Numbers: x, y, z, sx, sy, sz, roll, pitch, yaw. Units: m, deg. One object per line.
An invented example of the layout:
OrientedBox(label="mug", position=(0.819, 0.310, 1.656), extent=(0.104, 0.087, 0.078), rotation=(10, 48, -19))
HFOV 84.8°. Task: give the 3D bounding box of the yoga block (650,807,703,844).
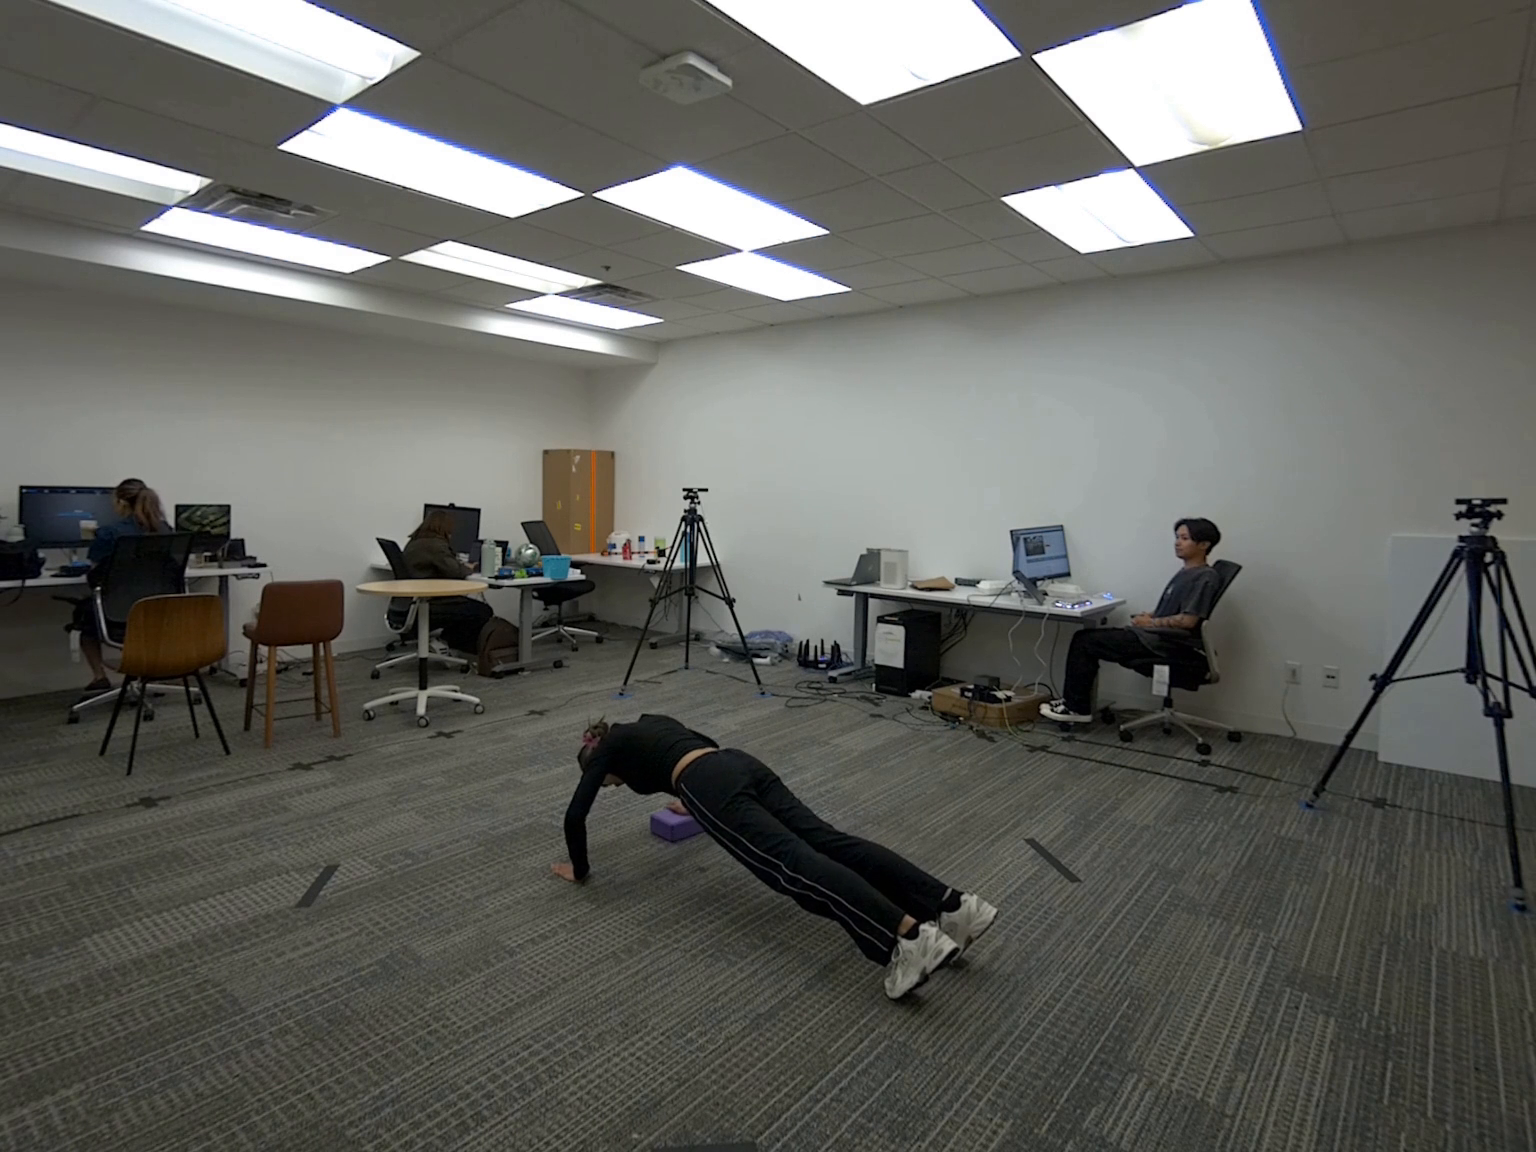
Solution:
OrientedBox(label="yoga block", position=(-0.362, 0.997, 3.461), extent=(0.222, 0.076, 0.154), rotation=(0, 5, -45))
